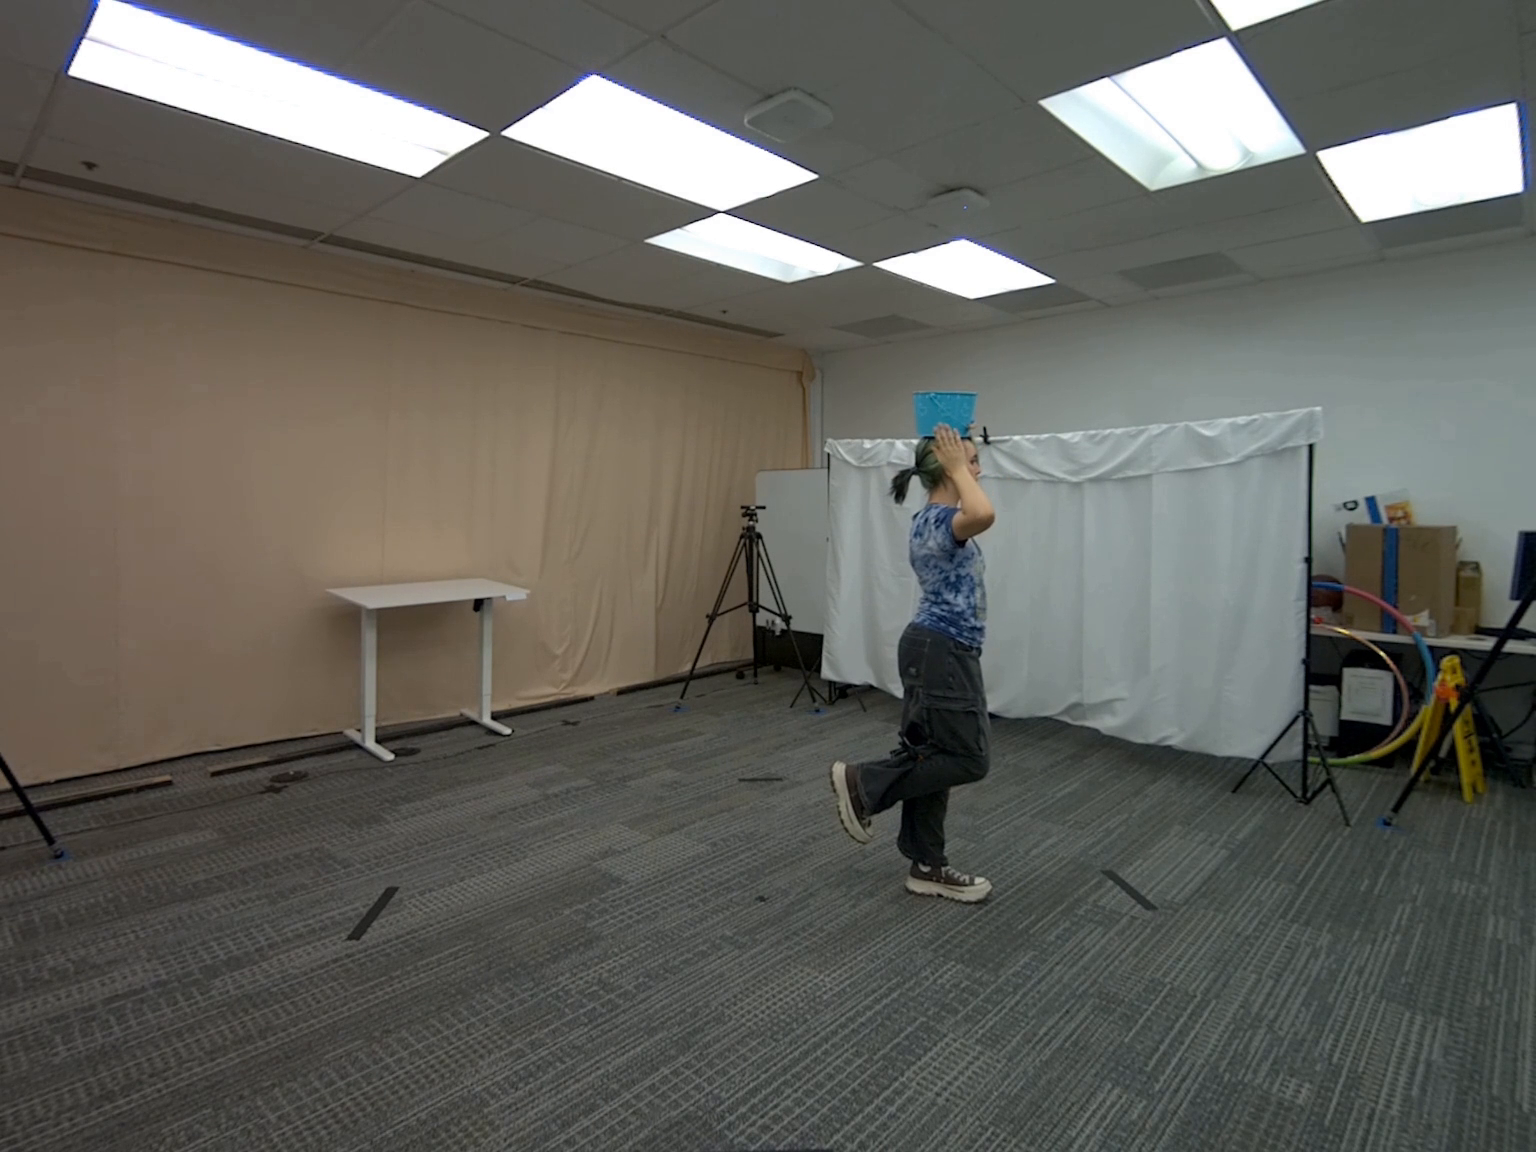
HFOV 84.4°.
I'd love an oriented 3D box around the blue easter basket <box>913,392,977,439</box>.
[{"bbox_3d":[0.633,-0.572,2.995,0.243,0.155,0.245,1,10,-2],"label":"blue easter basket"}]
